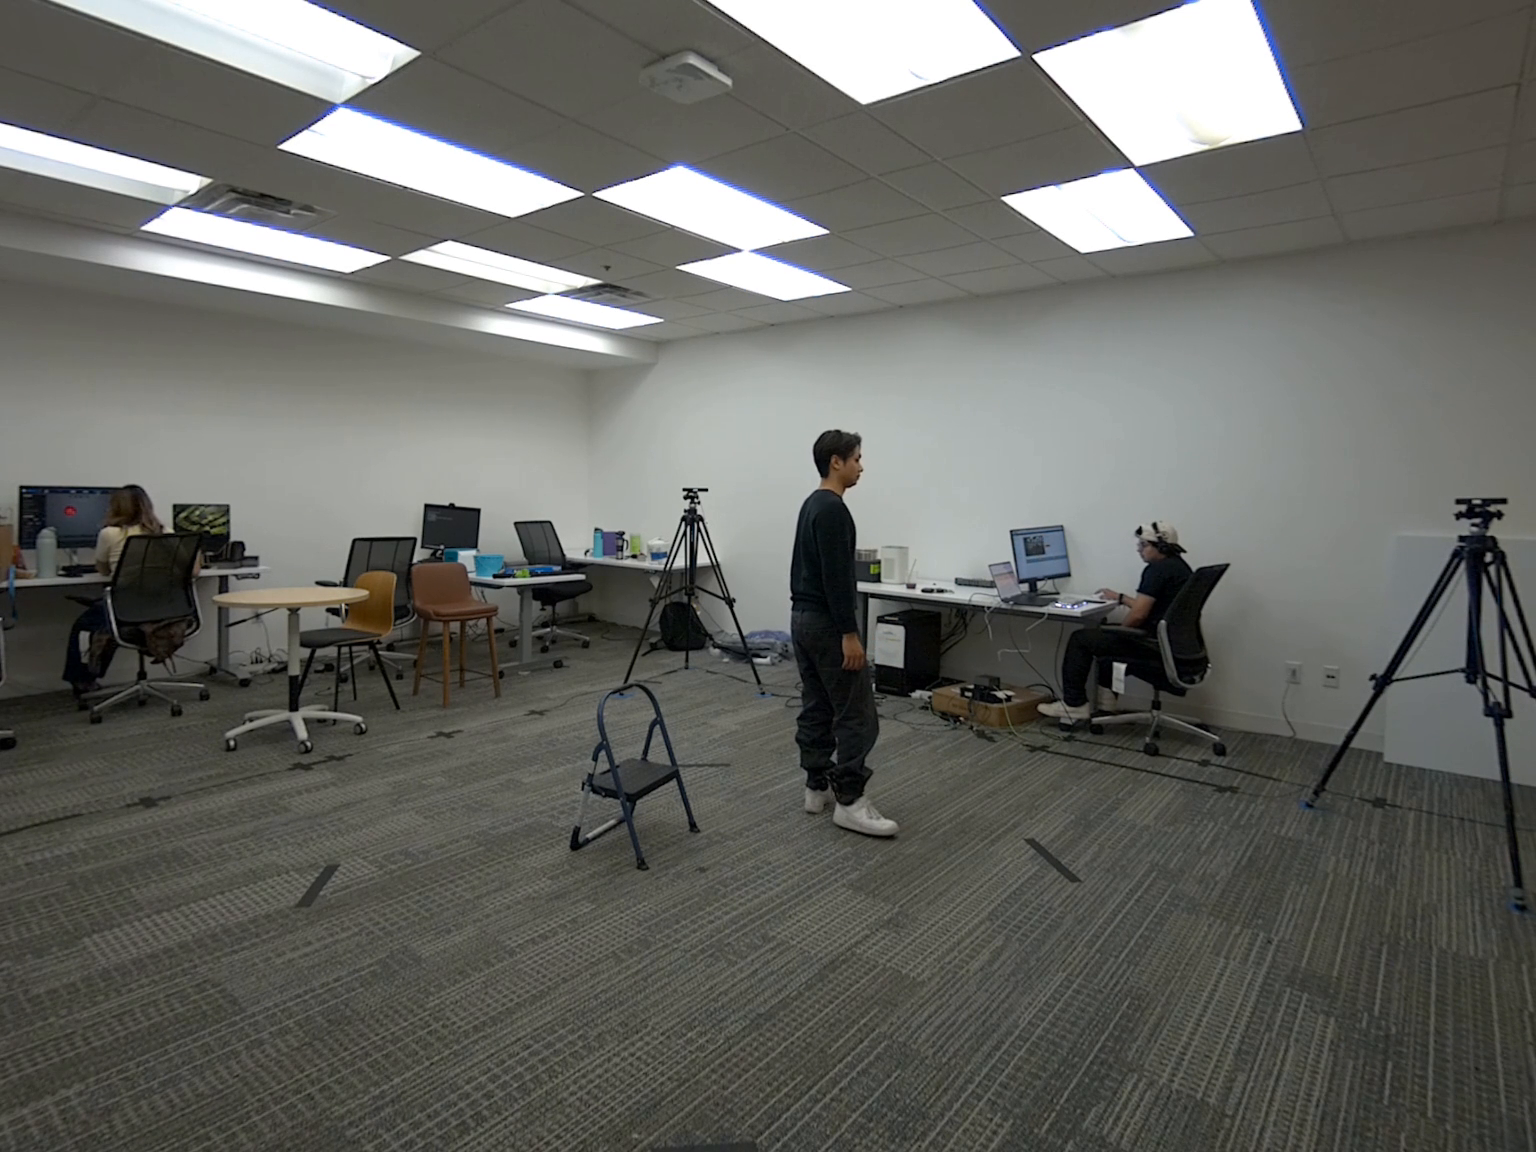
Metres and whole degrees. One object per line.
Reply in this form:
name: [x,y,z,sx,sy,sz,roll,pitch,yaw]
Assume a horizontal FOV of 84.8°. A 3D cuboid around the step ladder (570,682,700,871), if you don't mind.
step ladder: [-0.522,0.738,3.340,0.359,0.604,0.421,3,4,25]
